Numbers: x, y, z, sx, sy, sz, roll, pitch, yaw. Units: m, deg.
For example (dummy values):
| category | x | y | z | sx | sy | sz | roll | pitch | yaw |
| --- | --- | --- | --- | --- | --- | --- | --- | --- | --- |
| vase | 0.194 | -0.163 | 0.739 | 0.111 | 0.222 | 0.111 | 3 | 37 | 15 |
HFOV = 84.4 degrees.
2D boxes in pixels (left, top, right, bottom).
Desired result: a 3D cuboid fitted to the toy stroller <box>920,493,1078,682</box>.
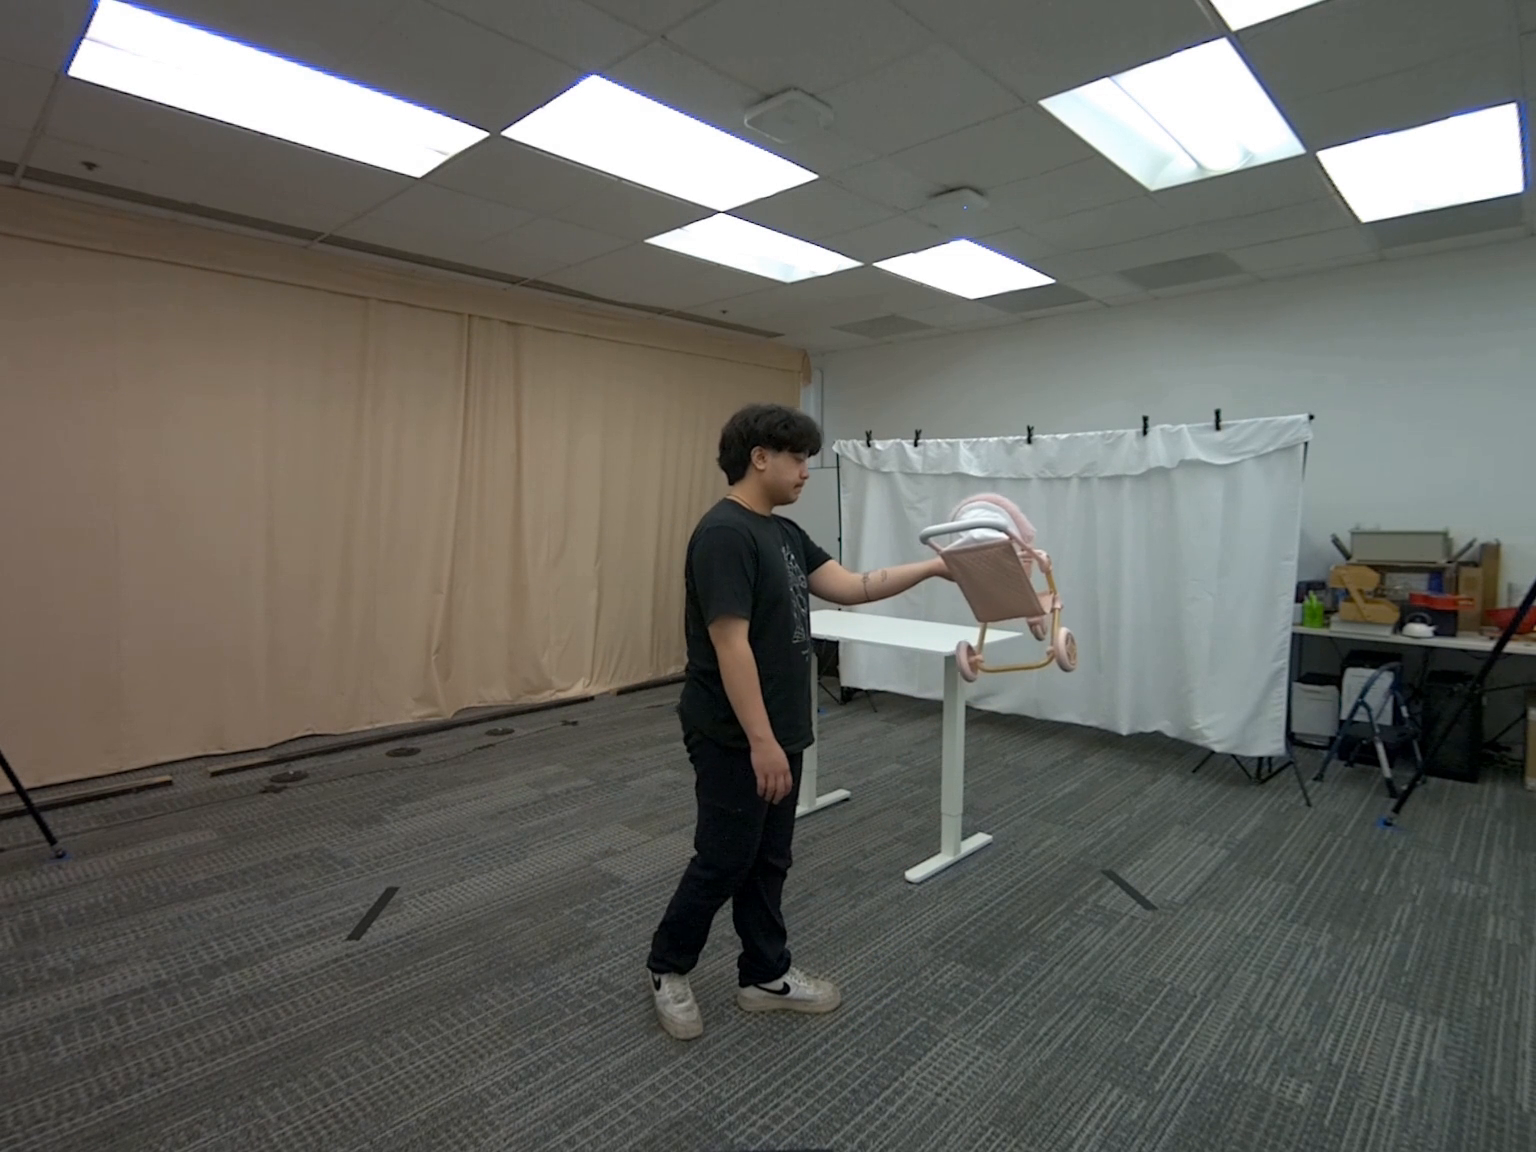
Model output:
| category | x | y | z | sx | sy | sz | roll | pitch | yaw |
| --- | --- | --- | --- | --- | --- | --- | --- | --- | --- |
| toy stroller | 0.612 | 0.018 | 2.152 | 0.289 | 0.525 | 0.338 | -12 | 24 | 37 |
